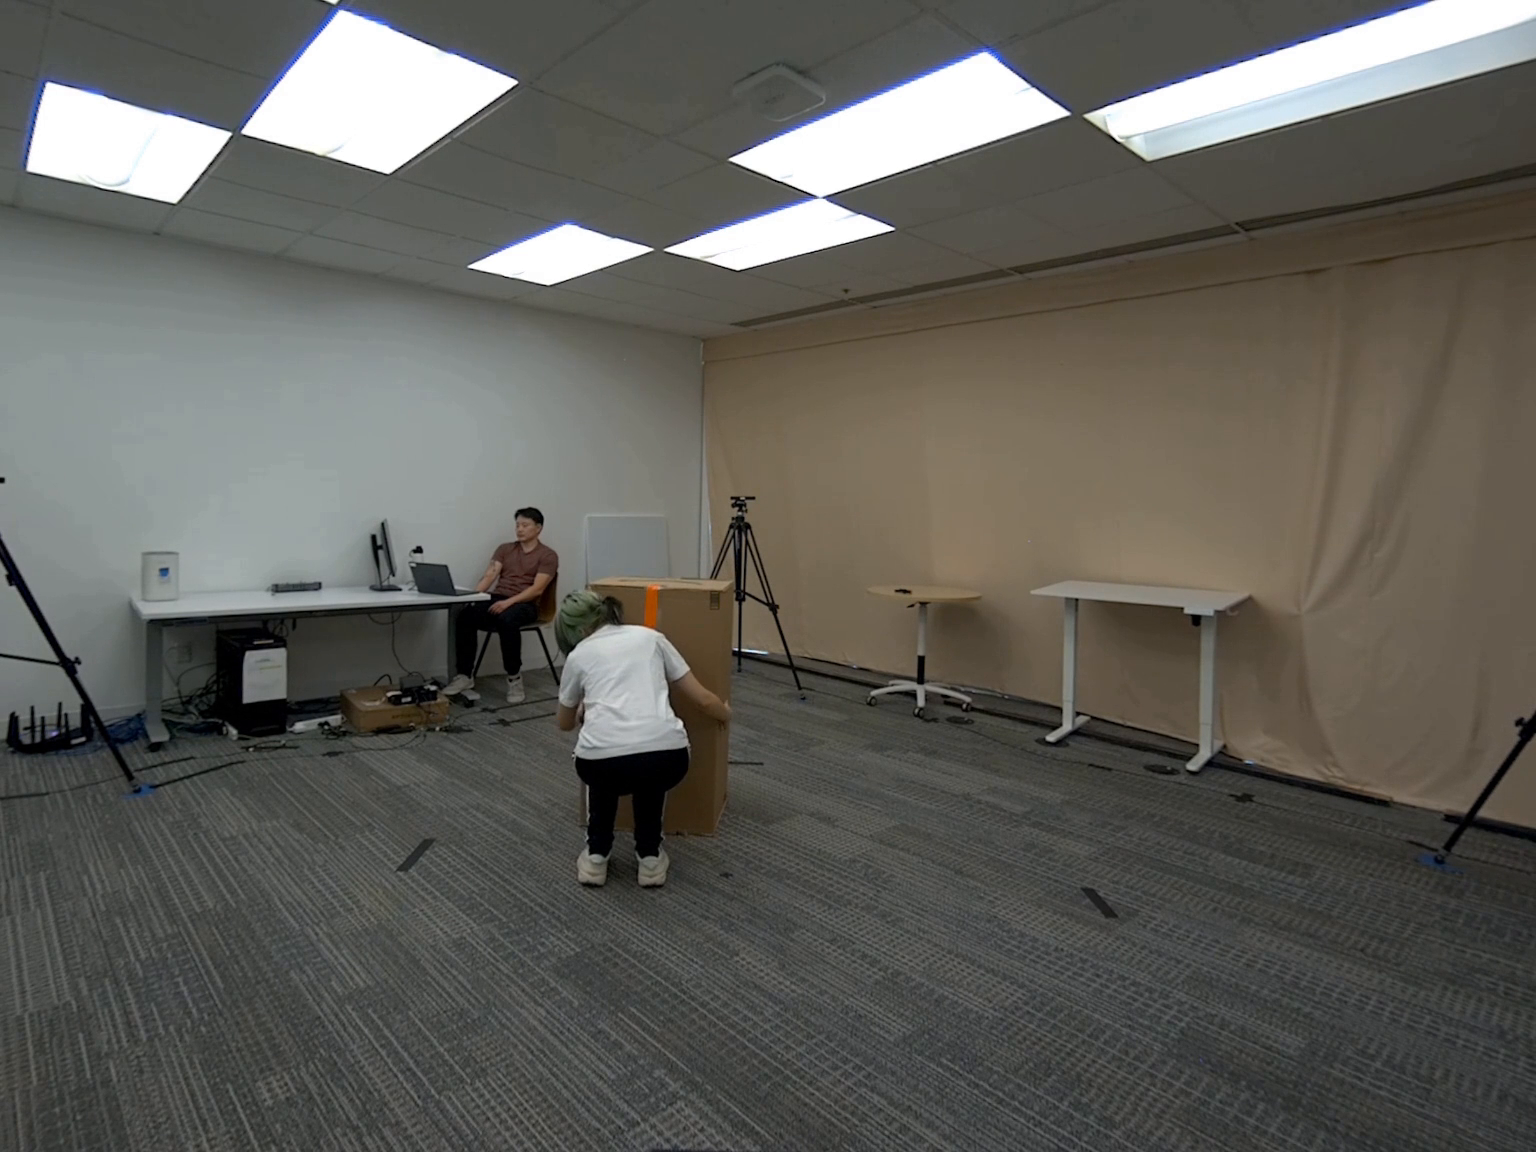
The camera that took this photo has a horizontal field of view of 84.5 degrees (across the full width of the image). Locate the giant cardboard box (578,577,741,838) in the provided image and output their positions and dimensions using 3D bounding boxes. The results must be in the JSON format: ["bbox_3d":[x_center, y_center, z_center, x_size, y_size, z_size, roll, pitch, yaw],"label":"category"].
[{"bbox_3d":[-0.479,0.536,3.677,0.587,1.025,0.445,3,3,6],"label":"giant cardboard box"}]
